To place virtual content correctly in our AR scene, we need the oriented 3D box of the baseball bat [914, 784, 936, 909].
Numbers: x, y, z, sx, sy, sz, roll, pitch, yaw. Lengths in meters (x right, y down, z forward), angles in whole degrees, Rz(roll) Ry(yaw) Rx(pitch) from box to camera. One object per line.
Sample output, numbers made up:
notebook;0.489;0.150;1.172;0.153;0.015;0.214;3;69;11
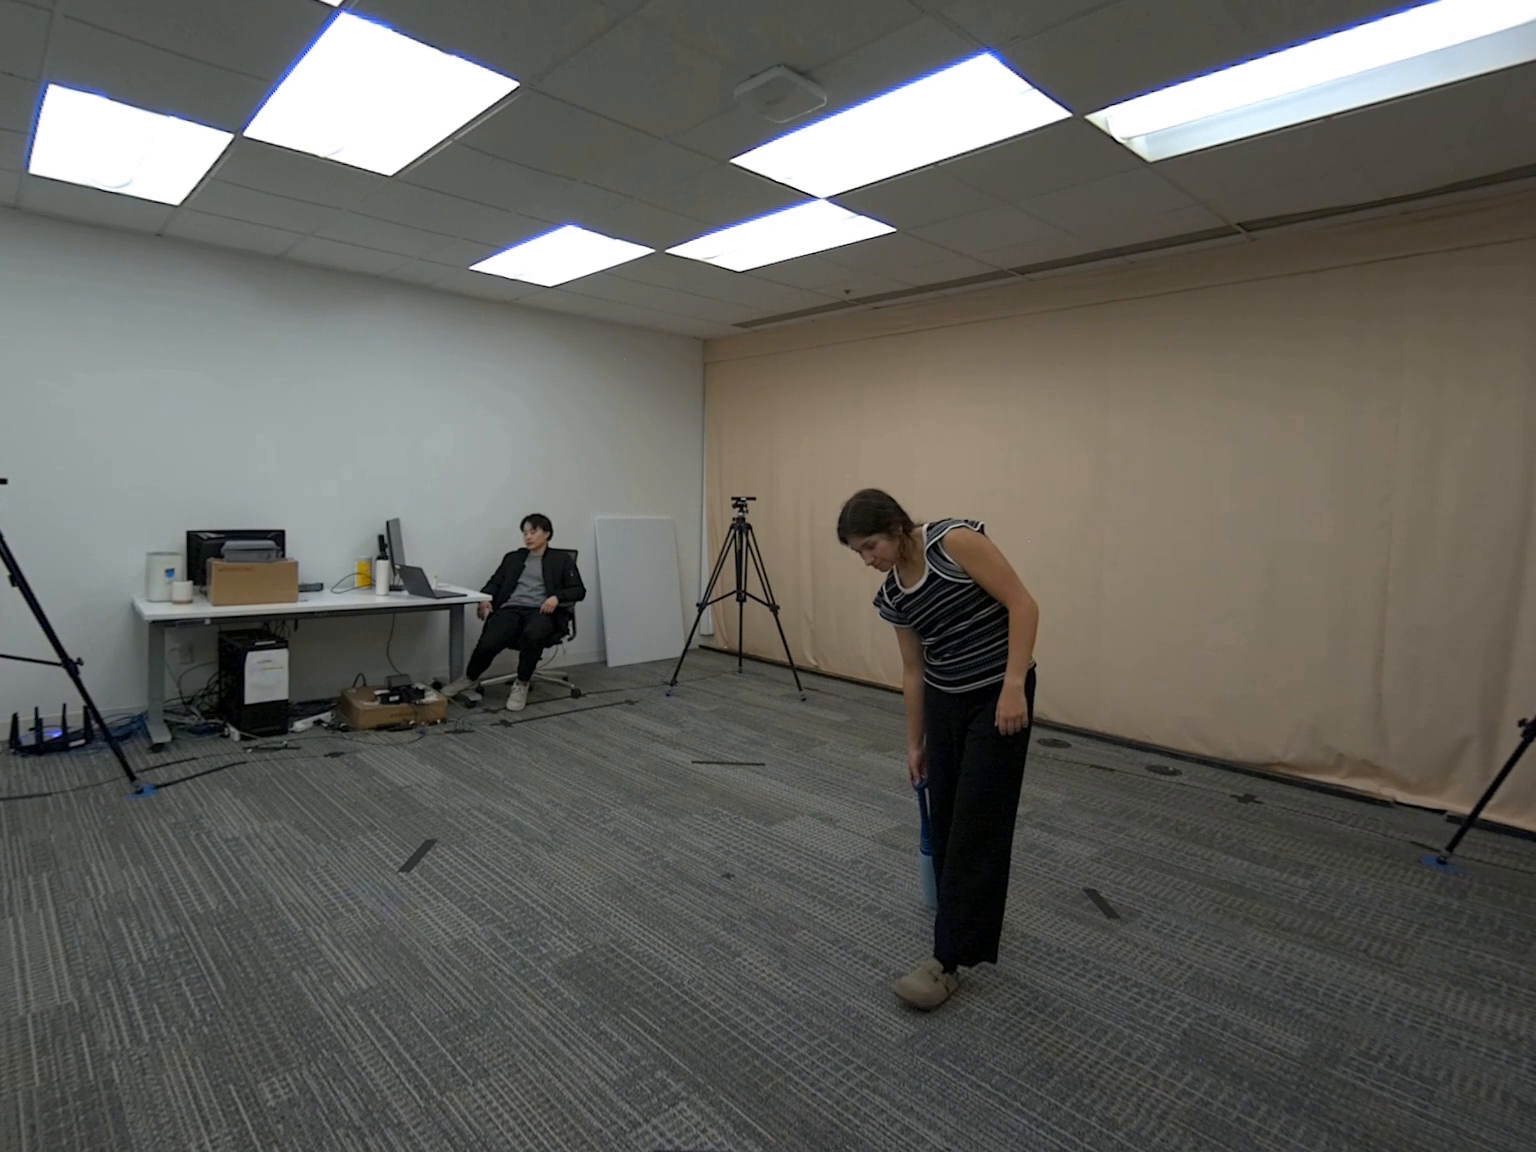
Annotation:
baseball bat;0.530;0.899;2.801;0.089;0.532;0.090;-10;24;3
